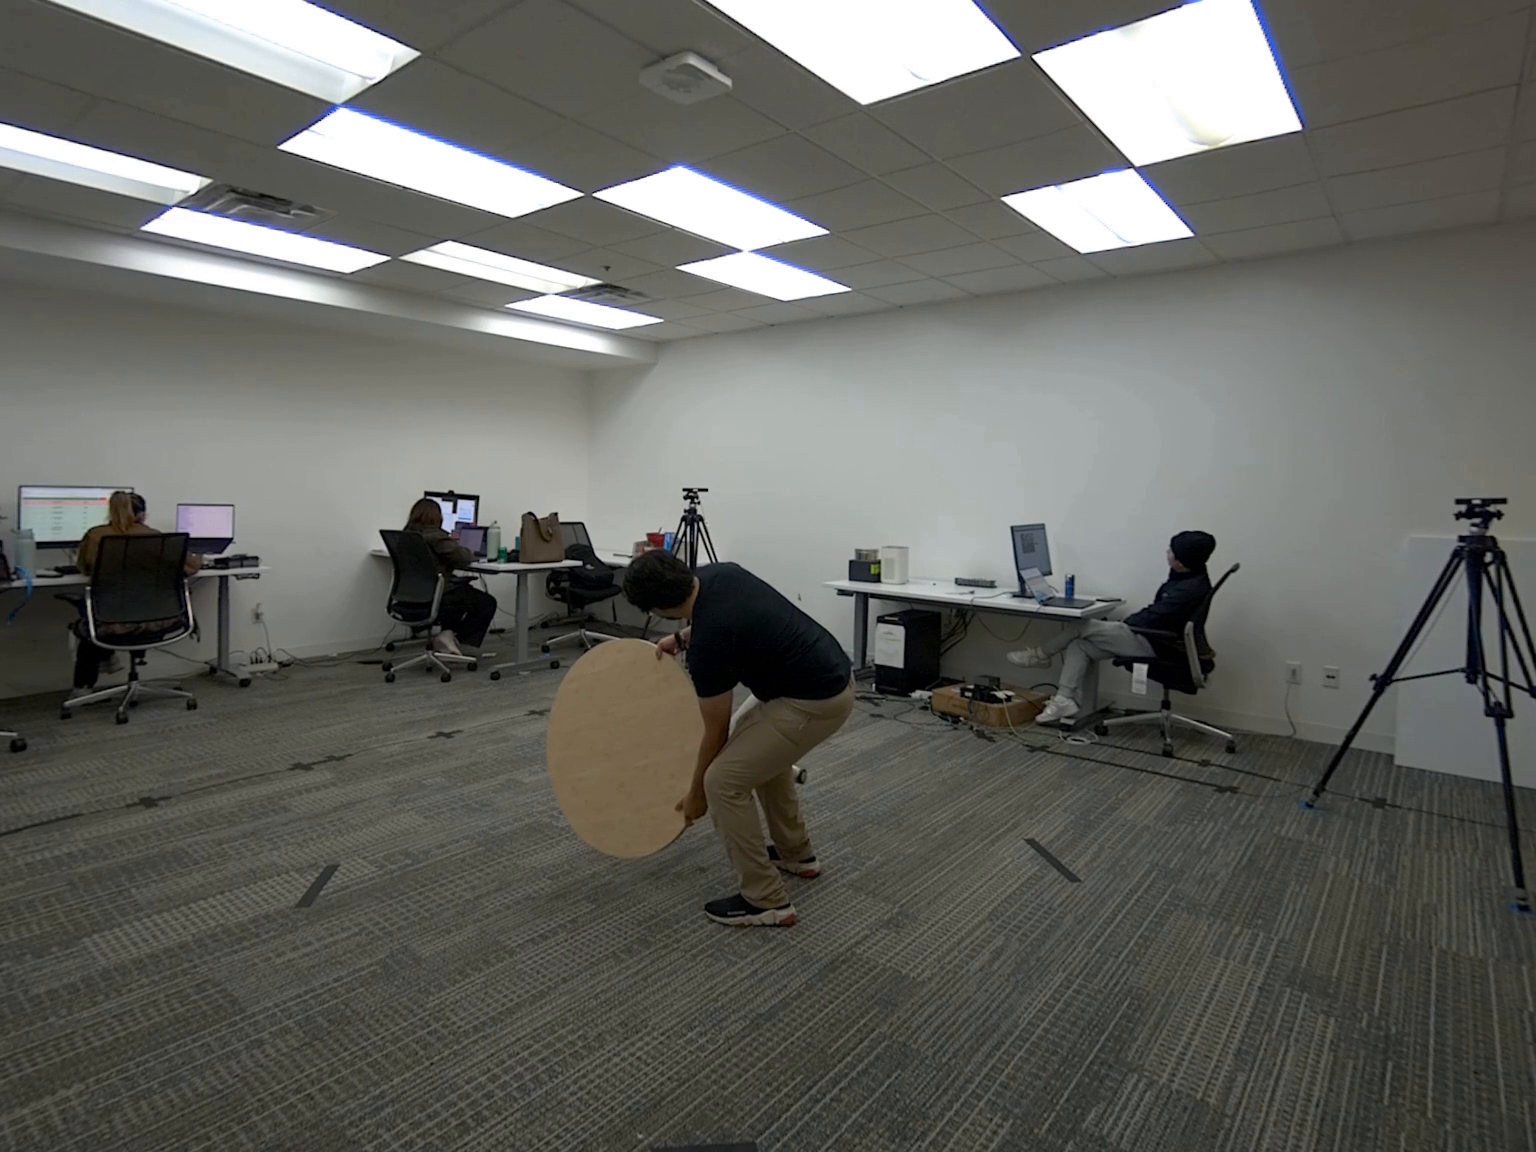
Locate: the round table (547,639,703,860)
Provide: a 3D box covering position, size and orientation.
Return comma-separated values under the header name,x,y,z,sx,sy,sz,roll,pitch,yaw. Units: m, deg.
name,x,y,z,sx,sy,sz,roll,pitch,yaw
round table,-0.333,0.632,3.381,0.810,0.788,0.759,4,-4,34
